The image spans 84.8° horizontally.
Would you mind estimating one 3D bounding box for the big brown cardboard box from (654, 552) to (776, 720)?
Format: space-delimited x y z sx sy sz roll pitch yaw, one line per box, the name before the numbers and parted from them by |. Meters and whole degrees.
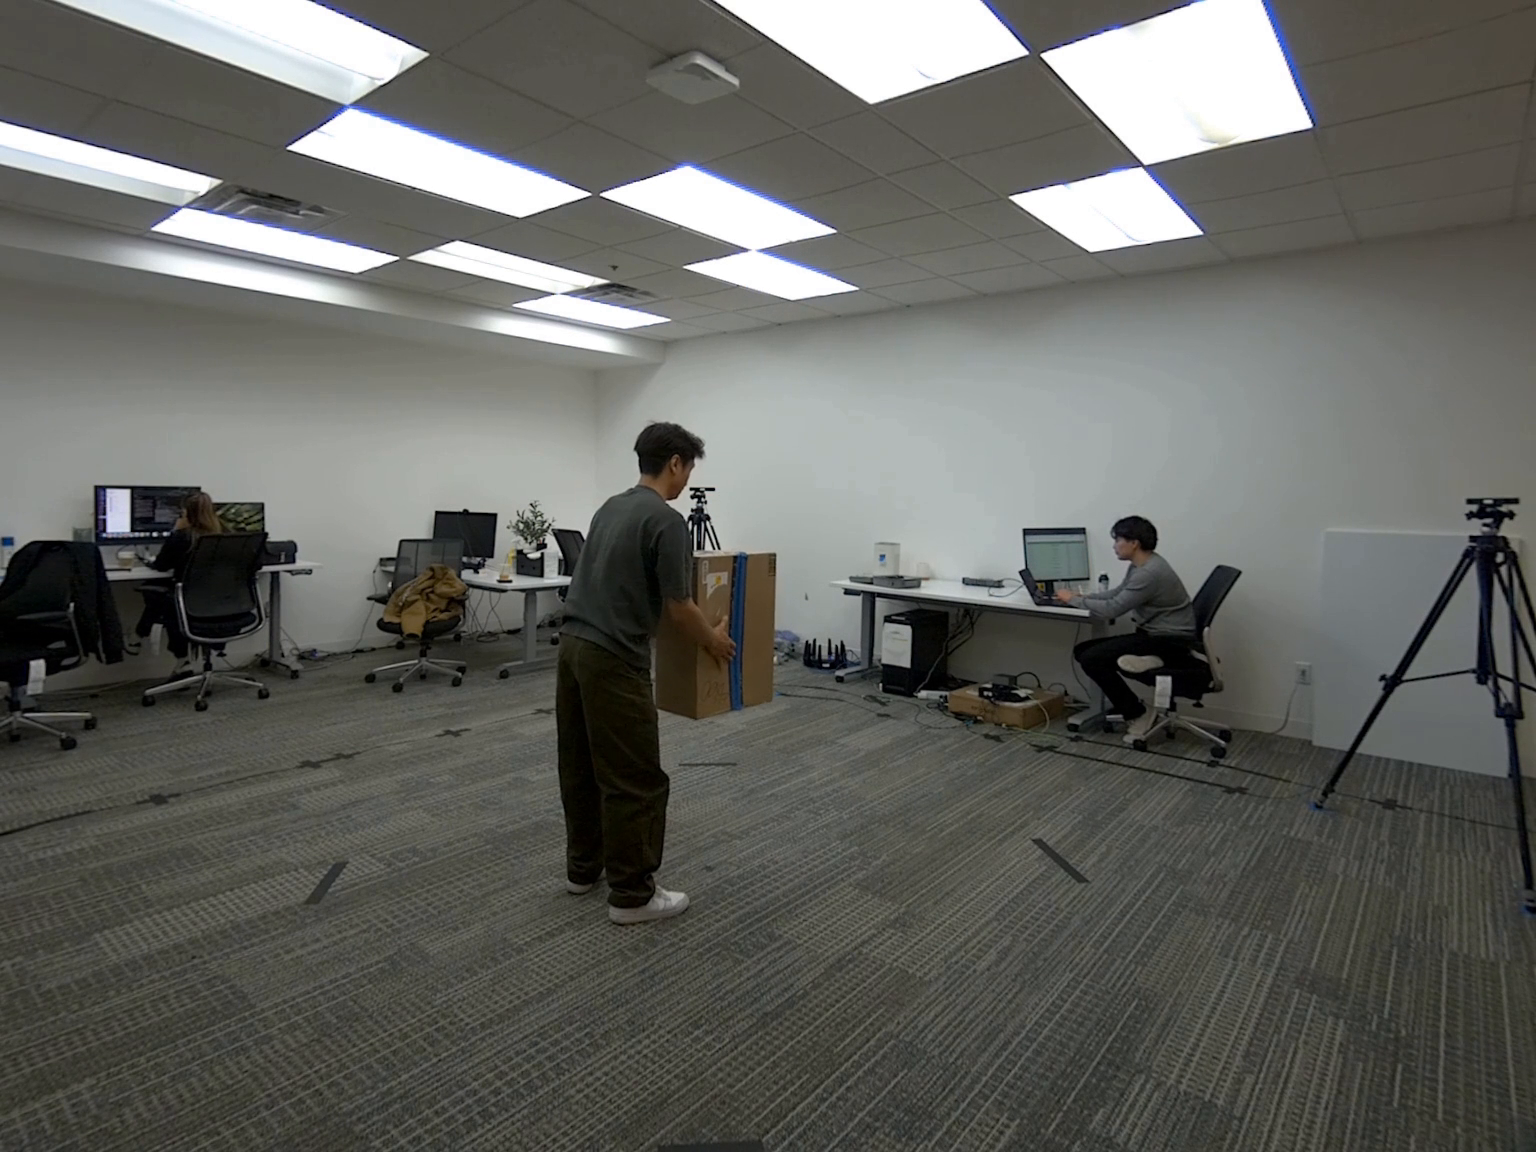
big brown cardboard box | -0.197 0.186 3.125 0.241 0.586 0.405 6 7 42
